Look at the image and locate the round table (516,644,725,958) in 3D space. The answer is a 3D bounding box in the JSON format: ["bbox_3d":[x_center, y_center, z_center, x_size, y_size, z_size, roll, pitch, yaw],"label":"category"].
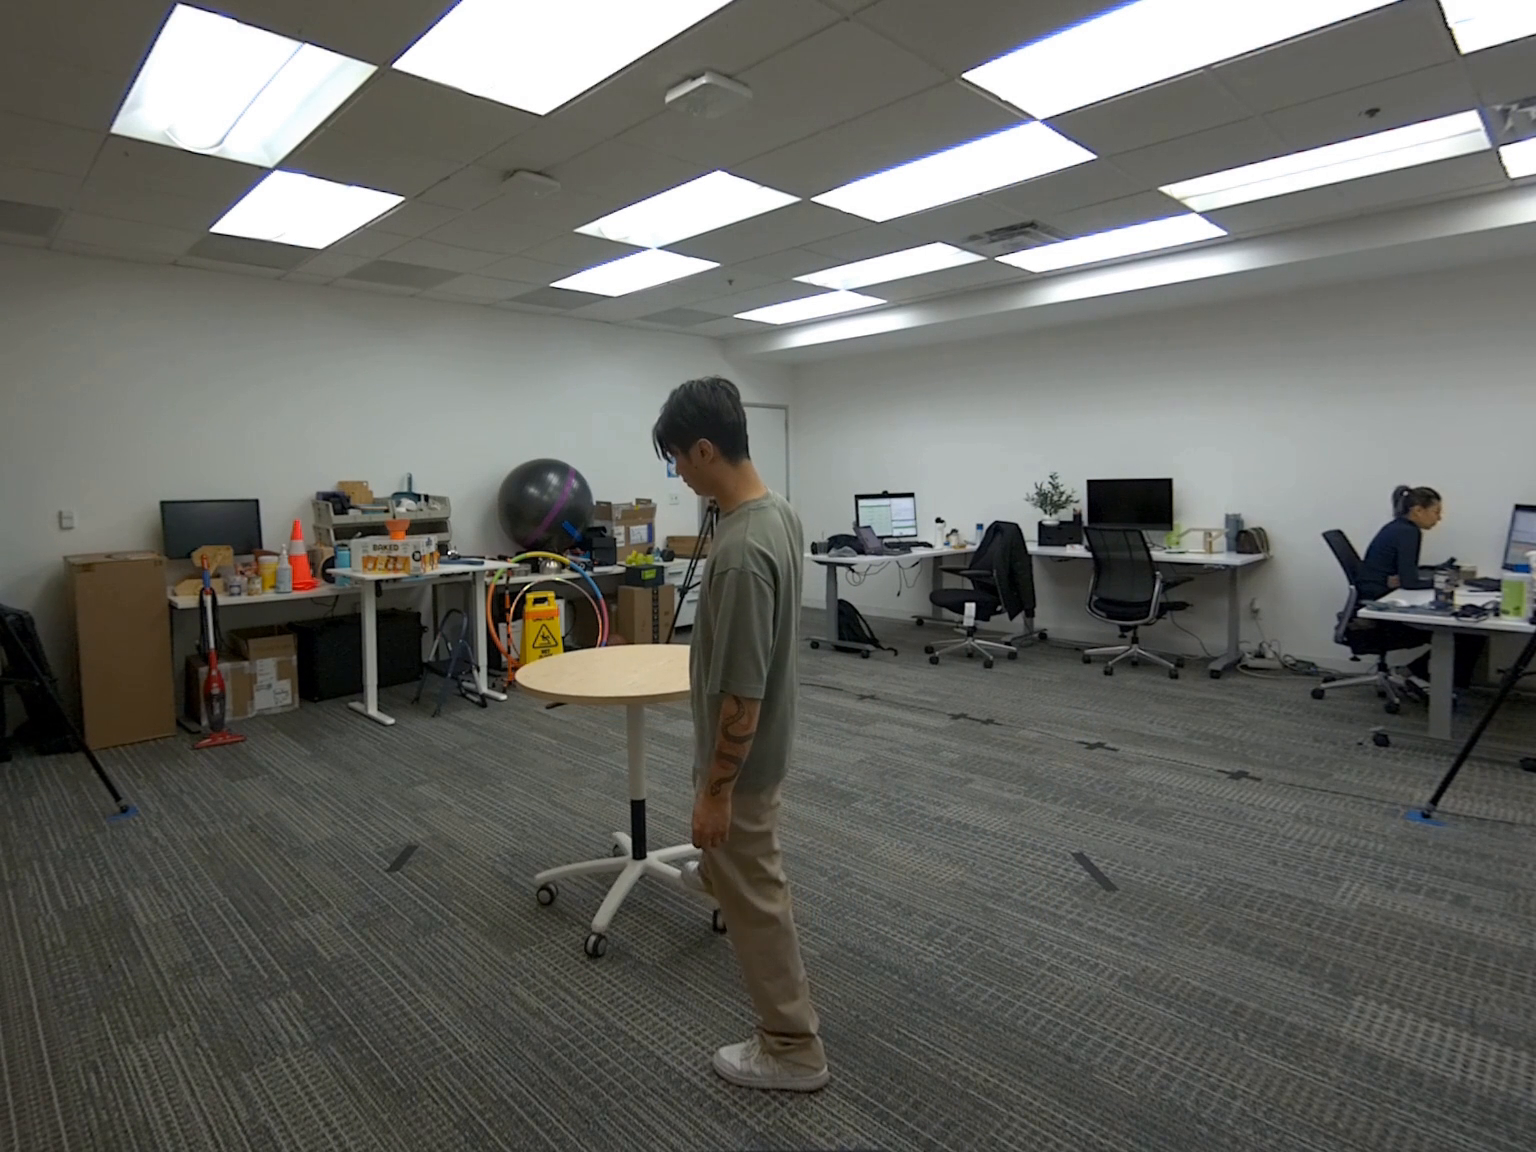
[{"bbox_3d":[-0.445,0.688,2.845,0.784,0.783,0.789,-1,5,-2],"label":"round table"}]
